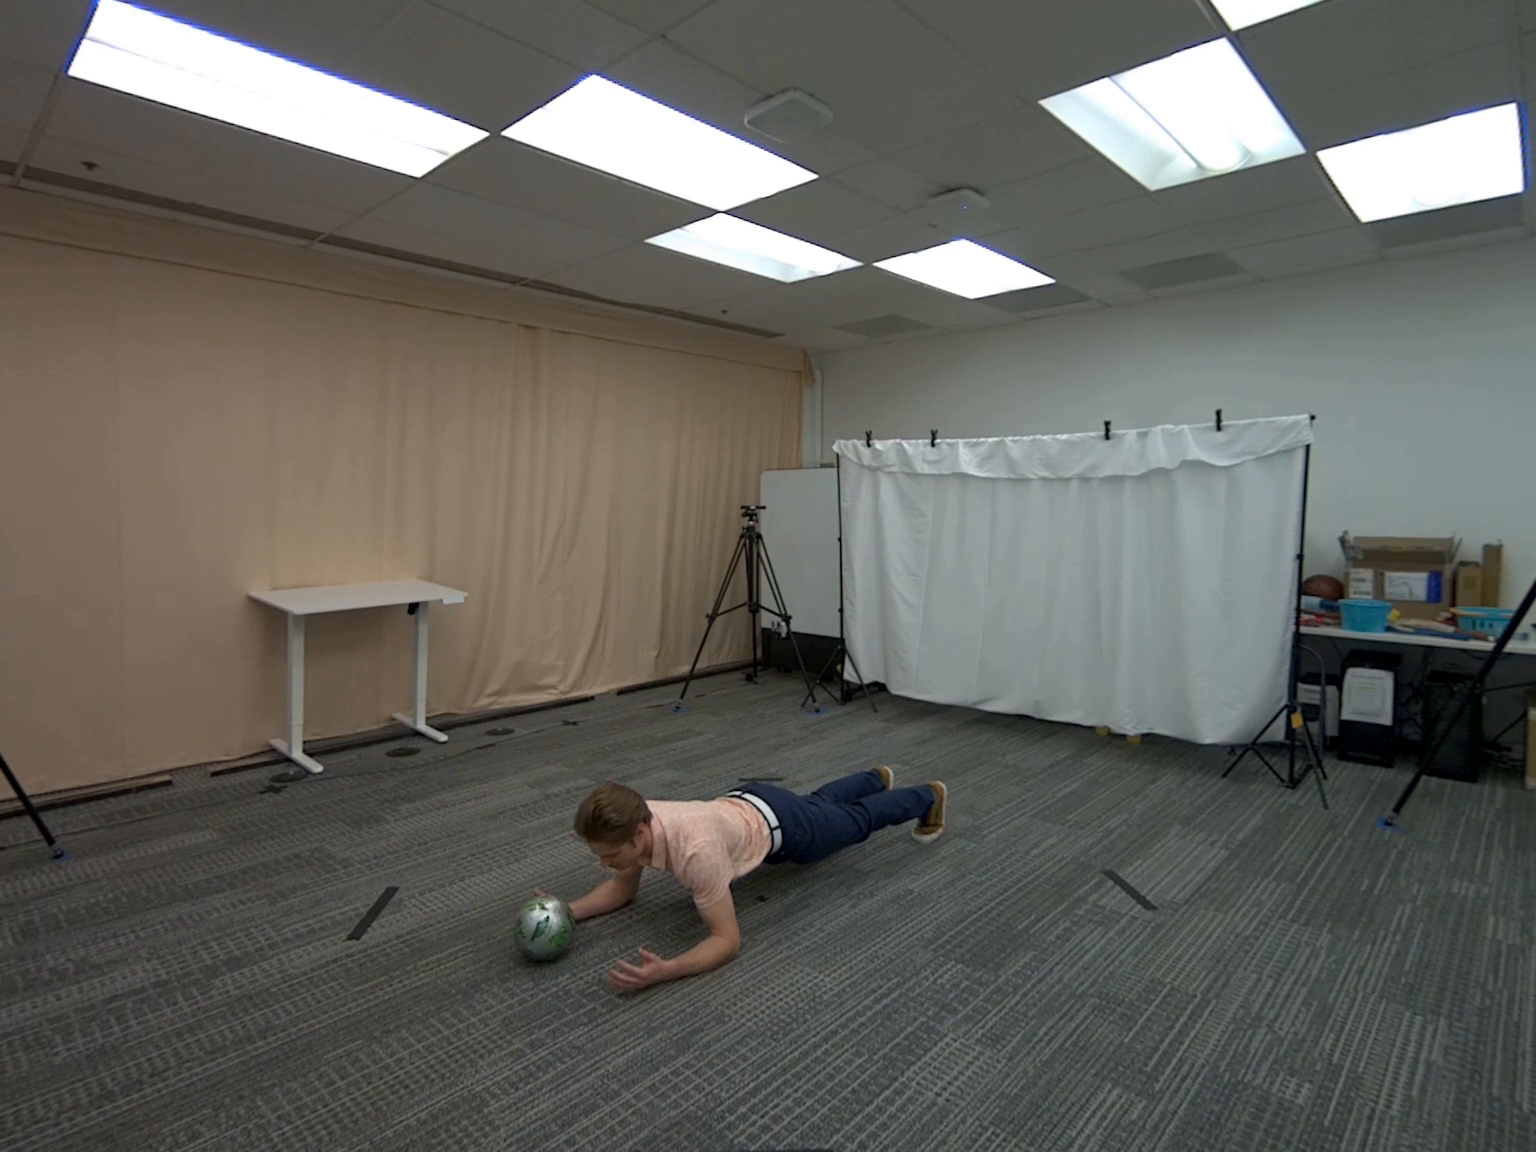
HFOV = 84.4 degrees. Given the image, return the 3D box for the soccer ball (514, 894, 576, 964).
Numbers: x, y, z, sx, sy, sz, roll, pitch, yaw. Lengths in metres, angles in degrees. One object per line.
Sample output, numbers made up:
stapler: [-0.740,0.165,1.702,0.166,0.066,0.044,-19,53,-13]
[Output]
soccer ball: [-0.688,1.093,2.604,0.187,0.187,0.188,0,4,-2]
